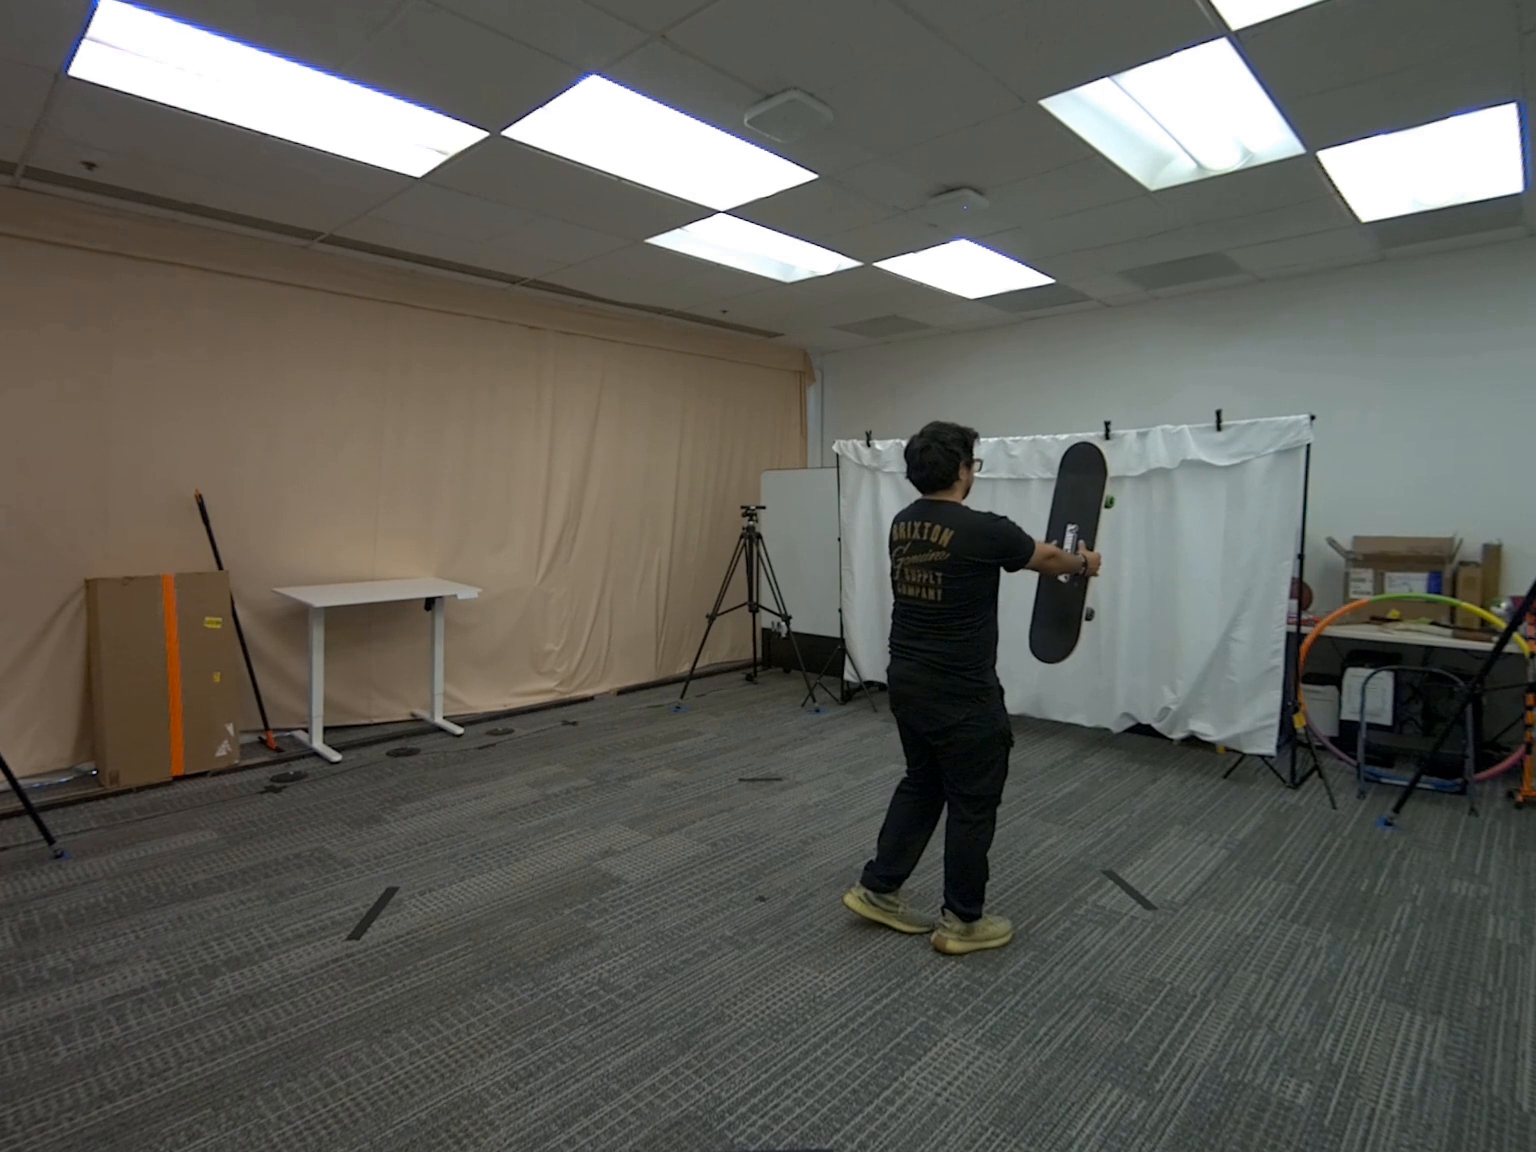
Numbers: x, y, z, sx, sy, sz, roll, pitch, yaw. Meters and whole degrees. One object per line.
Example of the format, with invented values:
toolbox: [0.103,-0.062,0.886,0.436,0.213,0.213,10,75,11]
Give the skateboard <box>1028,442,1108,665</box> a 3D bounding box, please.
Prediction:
skateboard: [1.083,-0.076,2.968,0.106,0.786,0.200,11,-2,-38]
